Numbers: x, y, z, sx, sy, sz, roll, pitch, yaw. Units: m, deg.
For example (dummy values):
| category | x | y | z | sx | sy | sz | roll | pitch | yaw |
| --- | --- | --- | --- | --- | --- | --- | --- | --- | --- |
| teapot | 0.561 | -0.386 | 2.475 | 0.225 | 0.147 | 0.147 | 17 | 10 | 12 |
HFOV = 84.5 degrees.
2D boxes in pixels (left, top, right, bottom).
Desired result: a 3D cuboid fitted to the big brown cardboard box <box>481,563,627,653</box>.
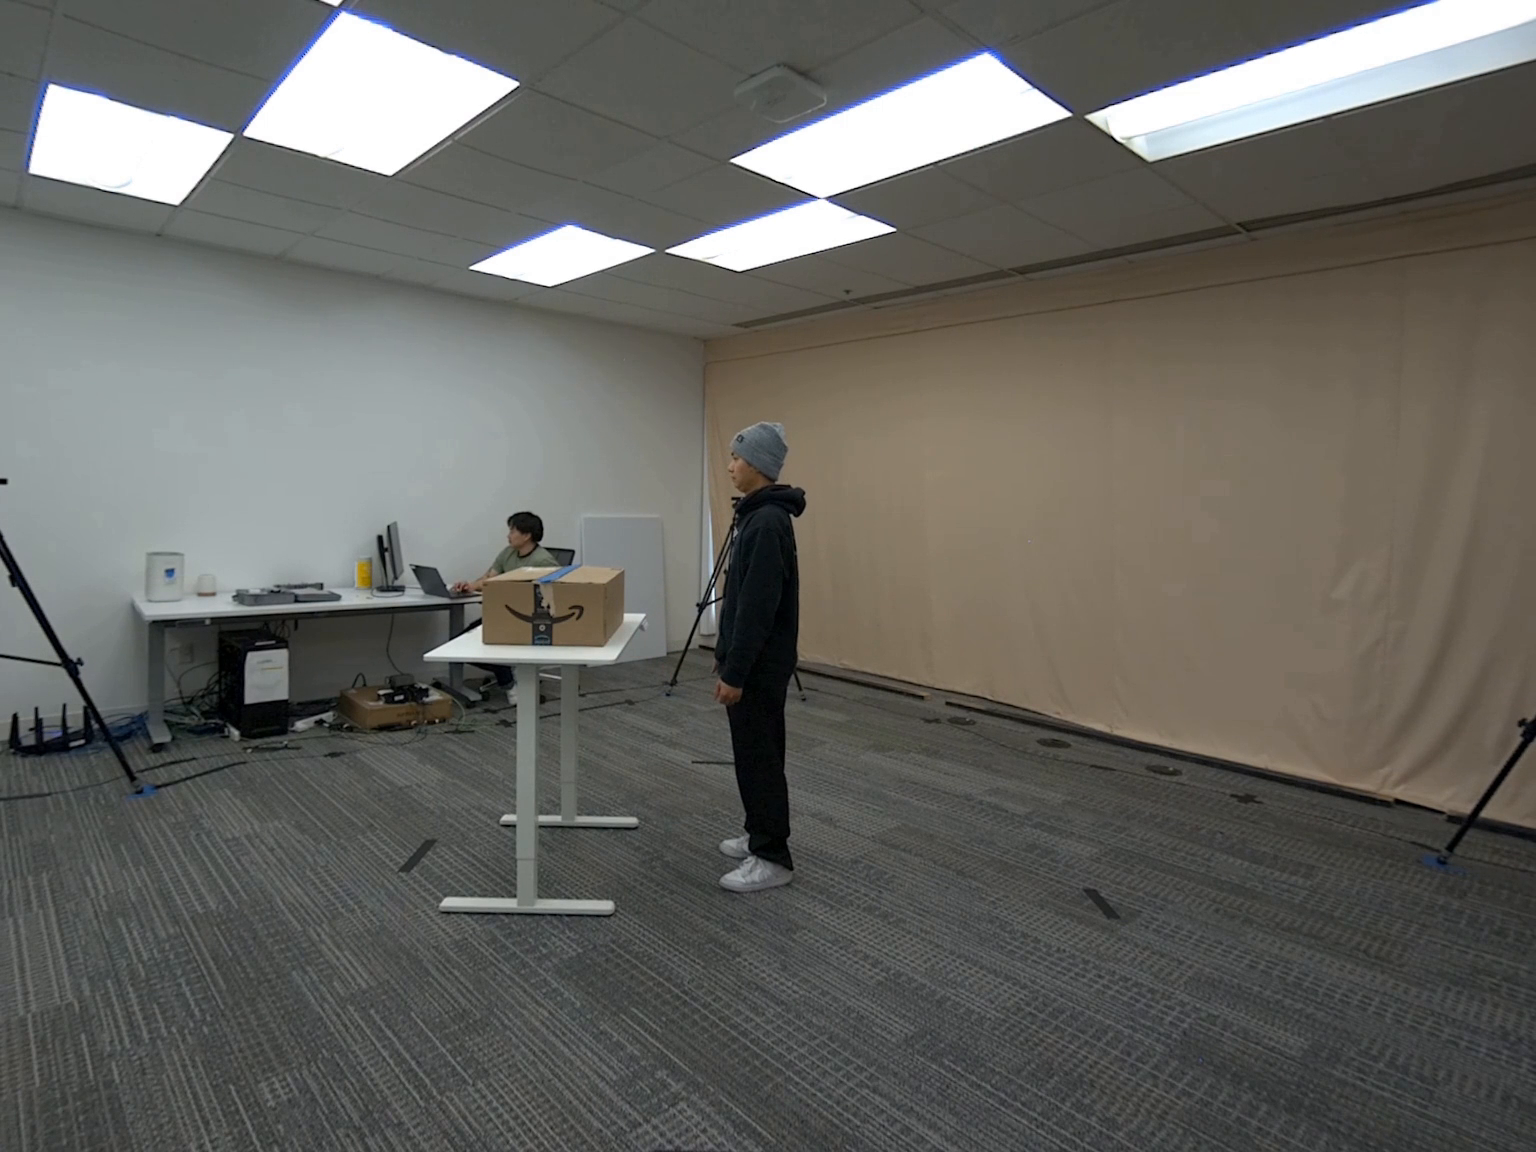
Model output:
| category | x | y | z | sx | sy | sz | roll | pitch | yaw |
| --- | --- | --- | --- | --- | --- | --- | --- | --- | --- |
| big brown cardboard box | -0.766 | 0.101 | 3.120 | 0.417 | 0.232 | 0.592 | 1 | 6 | -2 |
